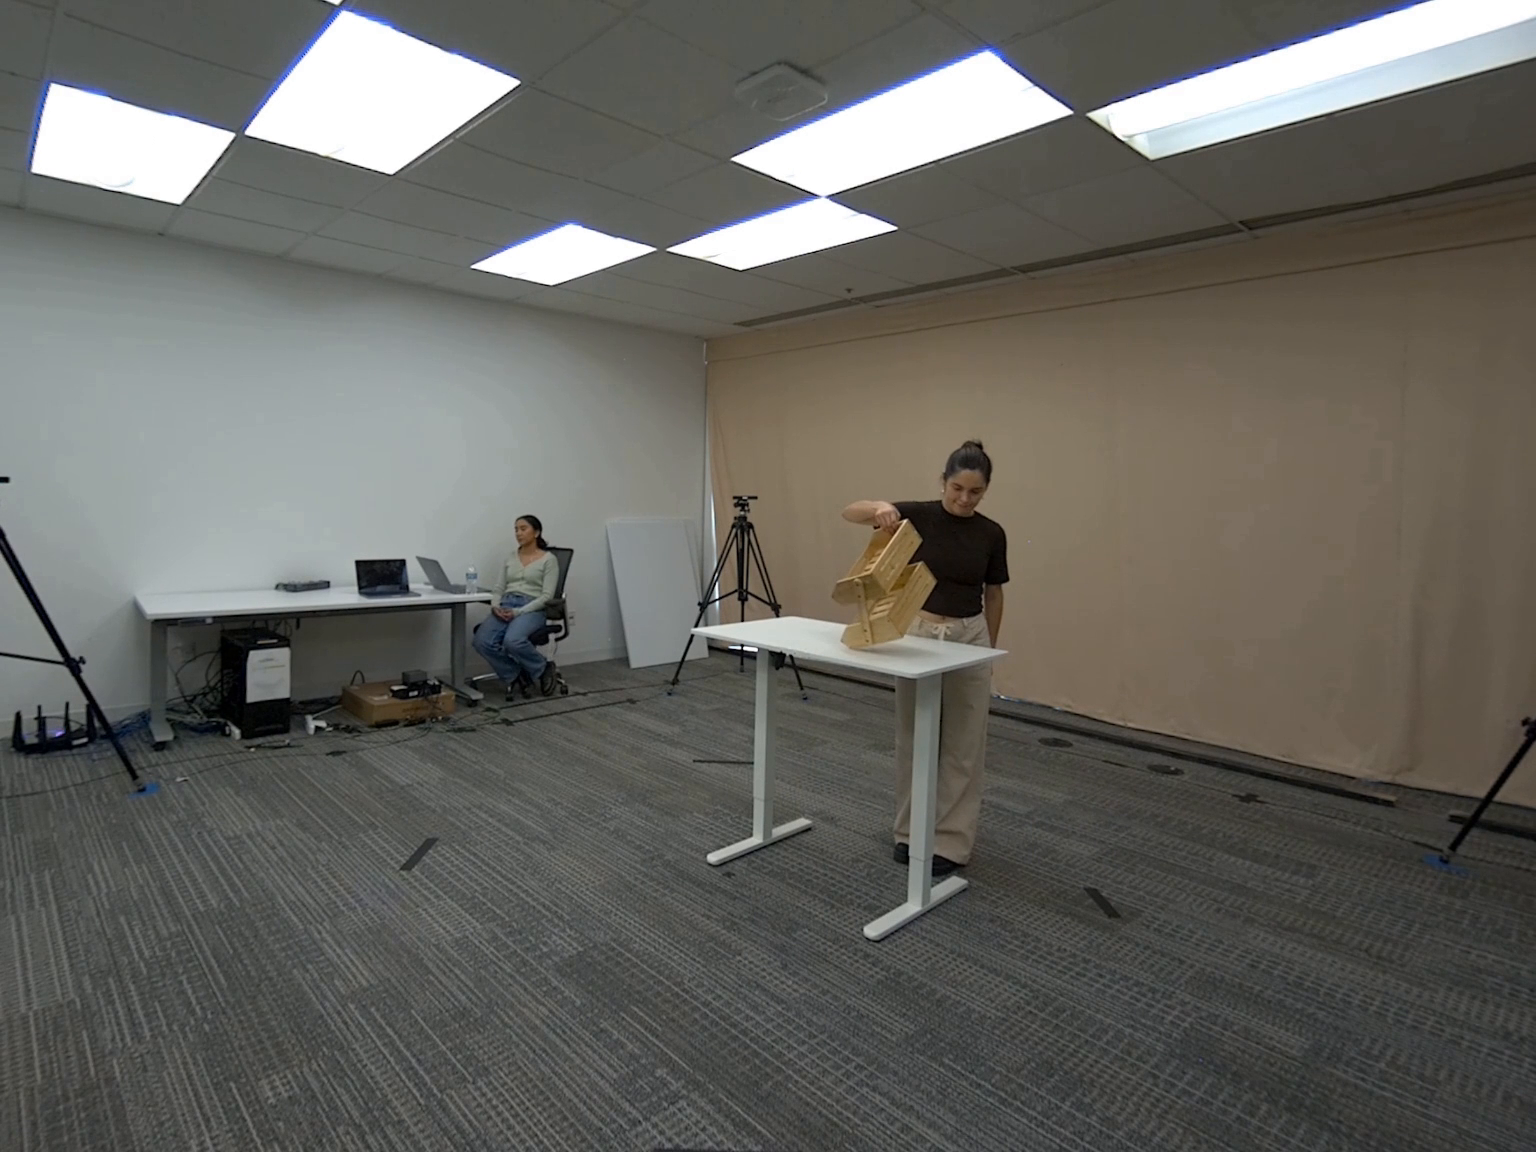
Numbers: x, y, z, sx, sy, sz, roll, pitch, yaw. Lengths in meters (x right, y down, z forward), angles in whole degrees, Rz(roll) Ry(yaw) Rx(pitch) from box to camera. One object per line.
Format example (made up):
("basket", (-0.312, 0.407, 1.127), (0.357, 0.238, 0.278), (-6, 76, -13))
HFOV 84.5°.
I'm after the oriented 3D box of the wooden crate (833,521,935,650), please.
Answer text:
("wooden crate", (0.360, 0.033, 2.836), (0.306, 0.269, 0.325), (-20, 23, 47))
